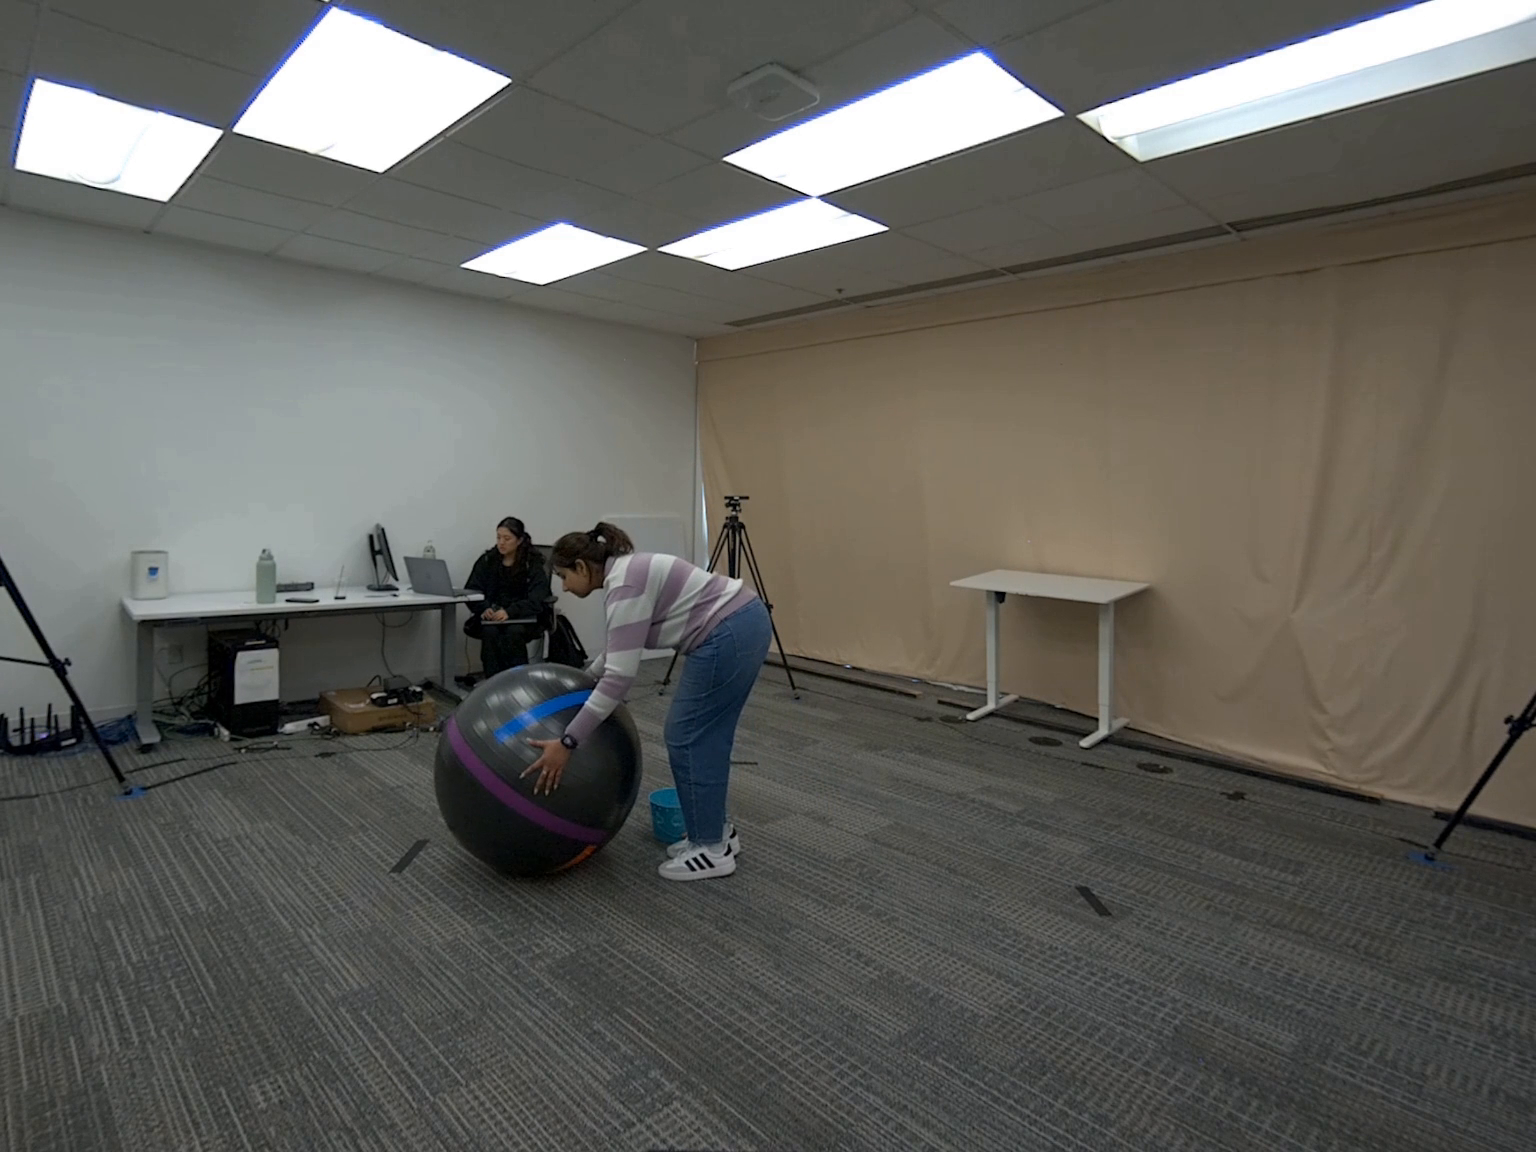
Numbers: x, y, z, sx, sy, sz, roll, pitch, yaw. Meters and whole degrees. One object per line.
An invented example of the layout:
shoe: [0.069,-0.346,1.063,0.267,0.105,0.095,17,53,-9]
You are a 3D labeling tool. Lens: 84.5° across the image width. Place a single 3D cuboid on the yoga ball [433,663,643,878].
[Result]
yoga ball: [-0.860,0.717,3.159,0.757,0.756,0.761,1,4,-1]
